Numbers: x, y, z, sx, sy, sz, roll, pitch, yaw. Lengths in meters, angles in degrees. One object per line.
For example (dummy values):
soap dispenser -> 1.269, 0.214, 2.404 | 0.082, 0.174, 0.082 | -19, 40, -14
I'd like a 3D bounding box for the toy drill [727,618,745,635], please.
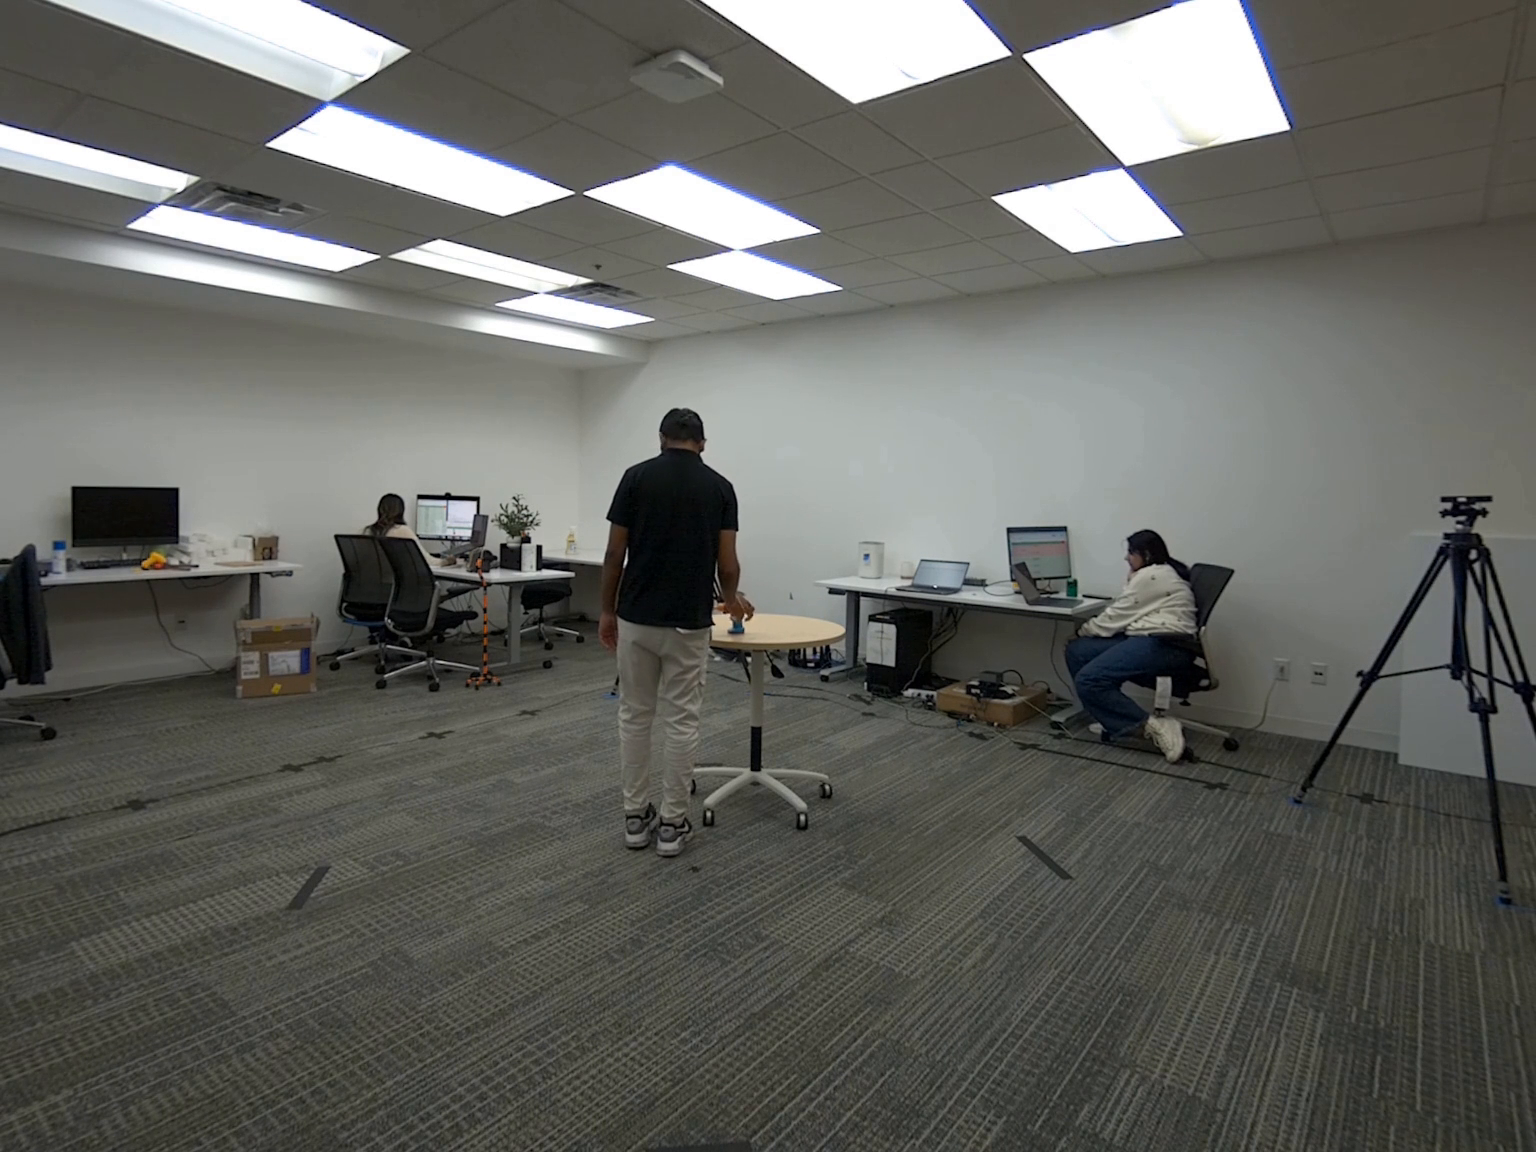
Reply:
toy drill -> -0.177, 0.166, 3.584 | 0.165, 0.145, 0.063 | -2, 3, -27
